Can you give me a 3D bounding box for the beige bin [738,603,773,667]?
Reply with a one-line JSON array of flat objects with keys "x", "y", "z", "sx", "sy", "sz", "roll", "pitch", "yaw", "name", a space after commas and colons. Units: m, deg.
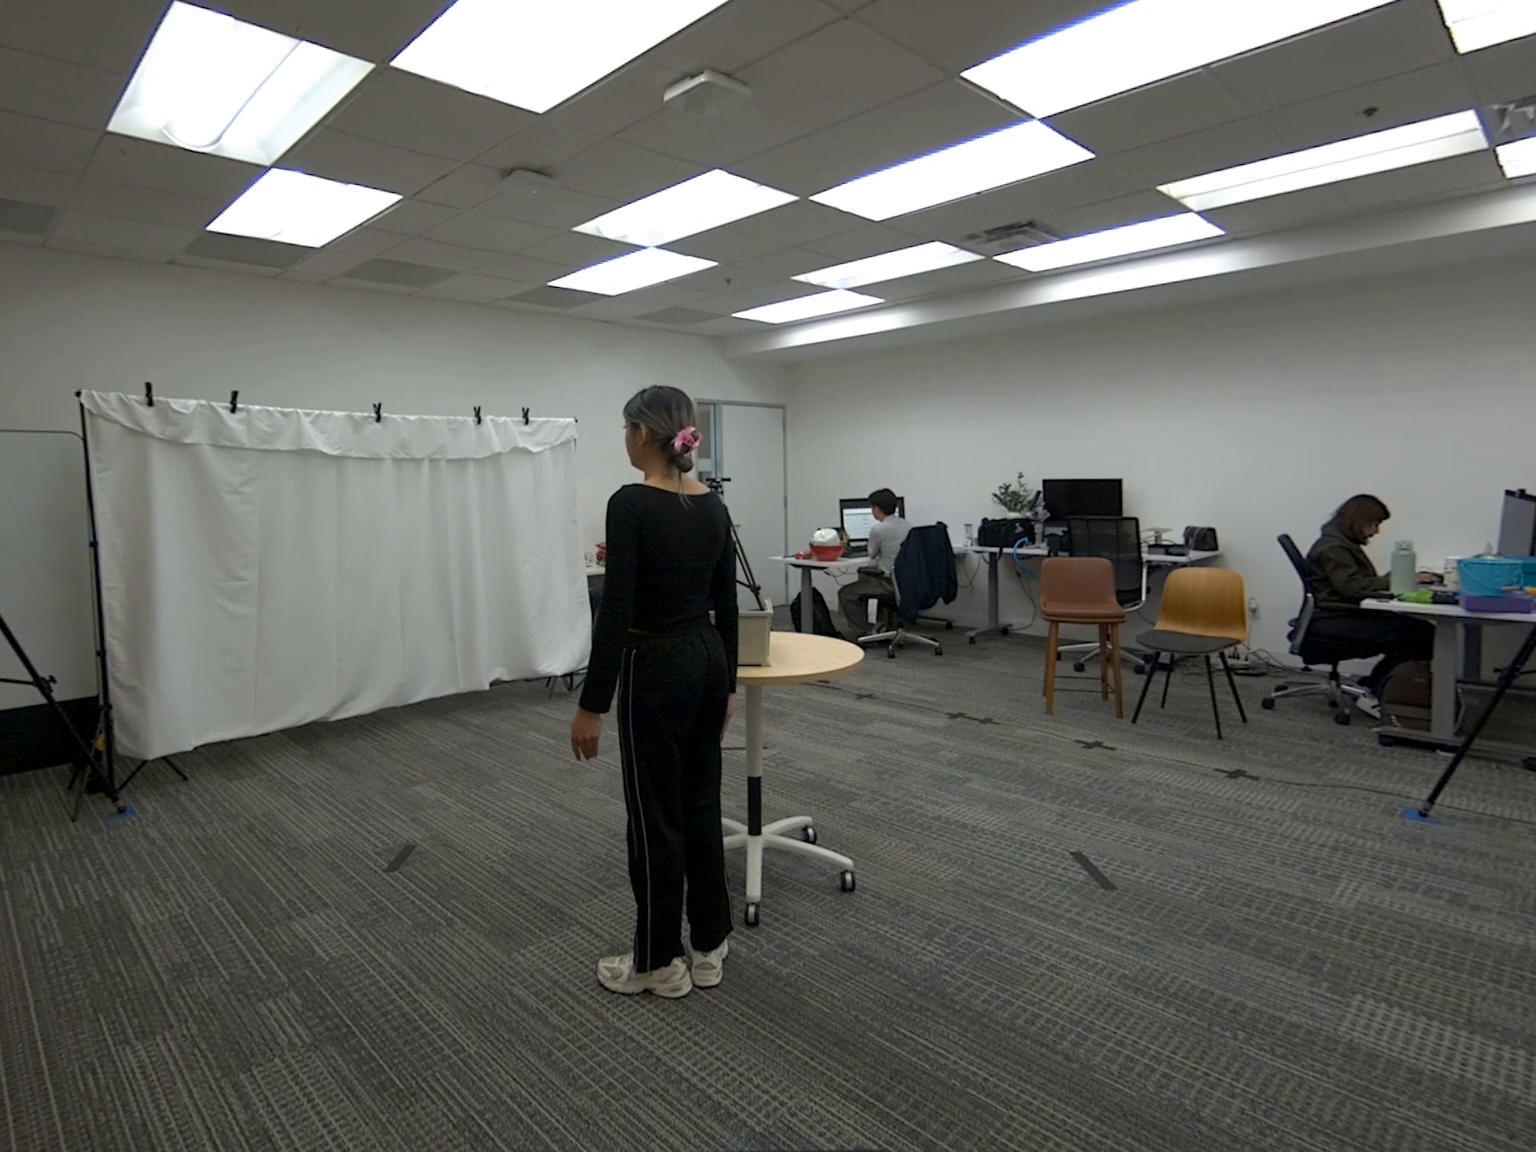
[{"x": -0.198, "y": 0.187, "z": 2.916, "sx": 0.422, "sy": 0.188, "sz": 0.379, "roll": 0, "pitch": 6, "yaw": -1, "name": "beige bin"}]
